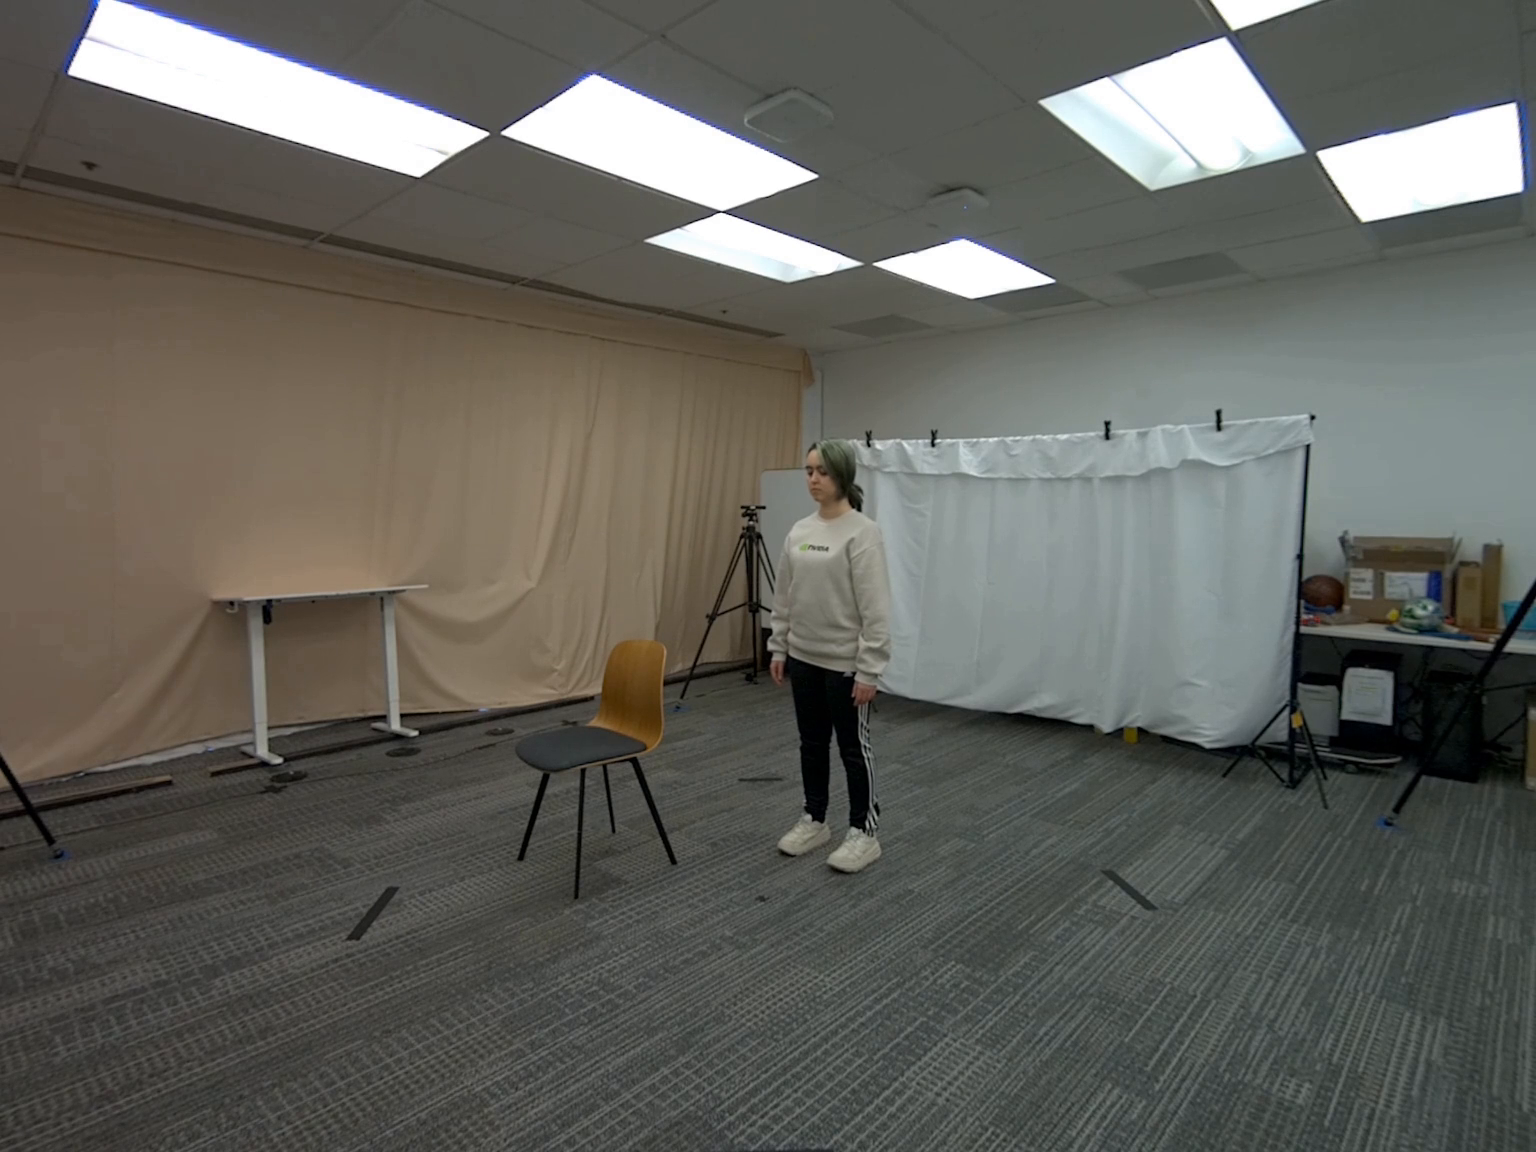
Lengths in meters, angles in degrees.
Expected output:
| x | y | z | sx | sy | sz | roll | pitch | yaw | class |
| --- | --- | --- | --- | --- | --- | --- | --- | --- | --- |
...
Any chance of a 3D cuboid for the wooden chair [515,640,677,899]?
| x | y | z | sx | sy | sz | roll | pitch | yaw | class |
| --- | --- | --- | --- | --- | --- | --- | --- | --- | --- |
| -0.681 | 0.702 | 3.272 | 0.506 | 0.877 | 0.494 | 2 | 1 | -42 | wooden chair |
